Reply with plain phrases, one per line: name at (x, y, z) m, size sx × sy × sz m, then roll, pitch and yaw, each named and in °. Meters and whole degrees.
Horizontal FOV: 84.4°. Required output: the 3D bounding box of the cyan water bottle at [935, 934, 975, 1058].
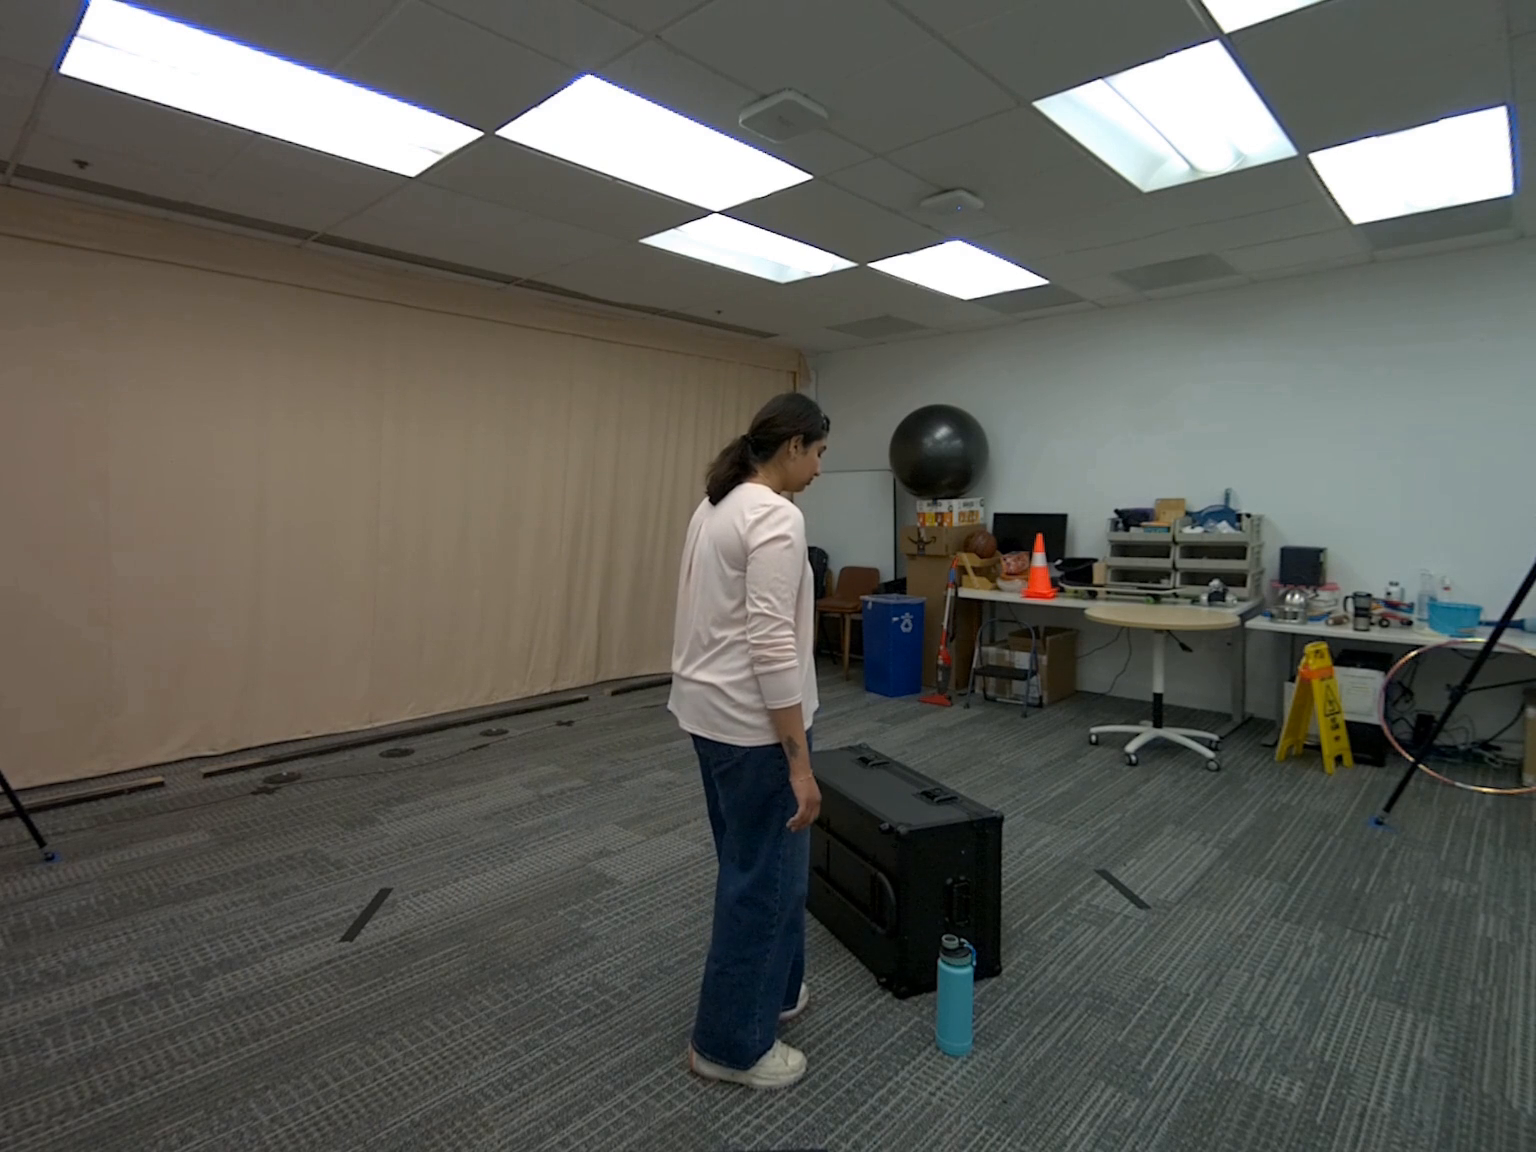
cyan water bottle at (0.479, 1.069, 2.161) m, size 0.092 × 0.283 × 0.092 m, roll 1°, pitch 1°, yaw -2°
